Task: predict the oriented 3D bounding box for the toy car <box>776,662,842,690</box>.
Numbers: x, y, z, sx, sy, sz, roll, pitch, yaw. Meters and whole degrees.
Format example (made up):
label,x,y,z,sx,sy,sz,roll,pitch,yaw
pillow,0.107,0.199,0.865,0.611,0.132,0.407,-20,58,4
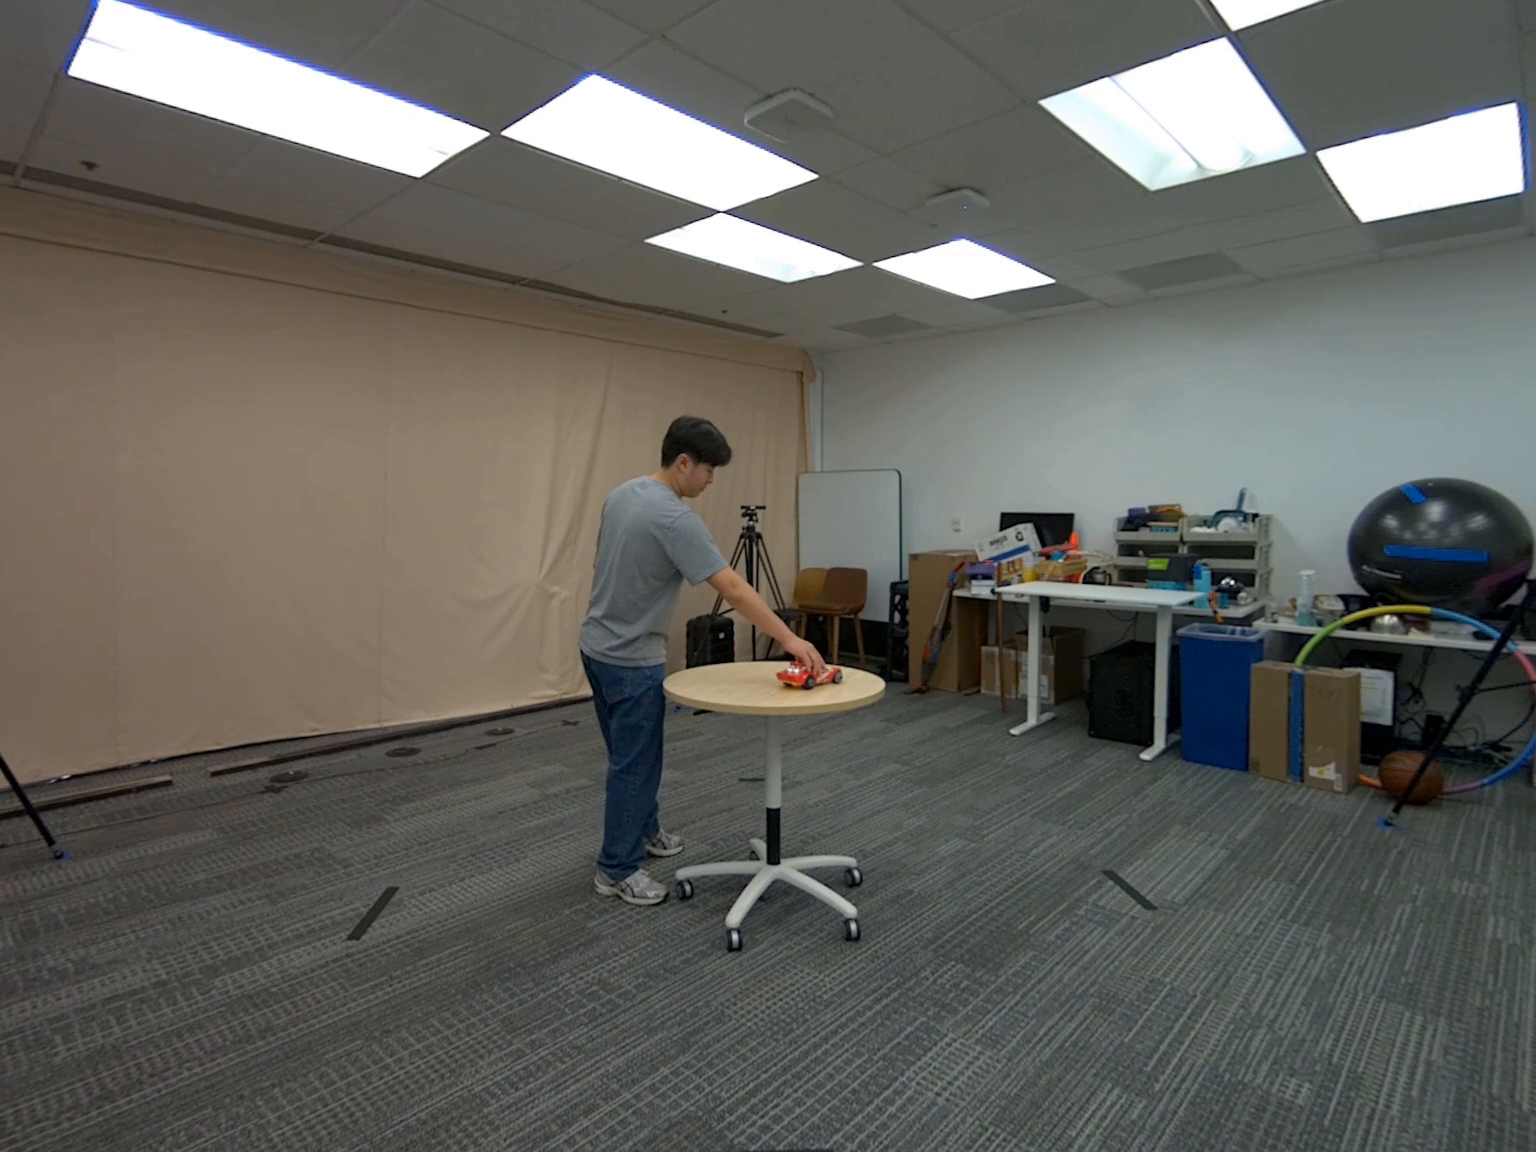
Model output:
label,x,y,z,sx,sy,sz,roll,pitch,yaw
toy car,0.141,0.341,2.840,0.246,0.083,0.135,11,-4,-43
